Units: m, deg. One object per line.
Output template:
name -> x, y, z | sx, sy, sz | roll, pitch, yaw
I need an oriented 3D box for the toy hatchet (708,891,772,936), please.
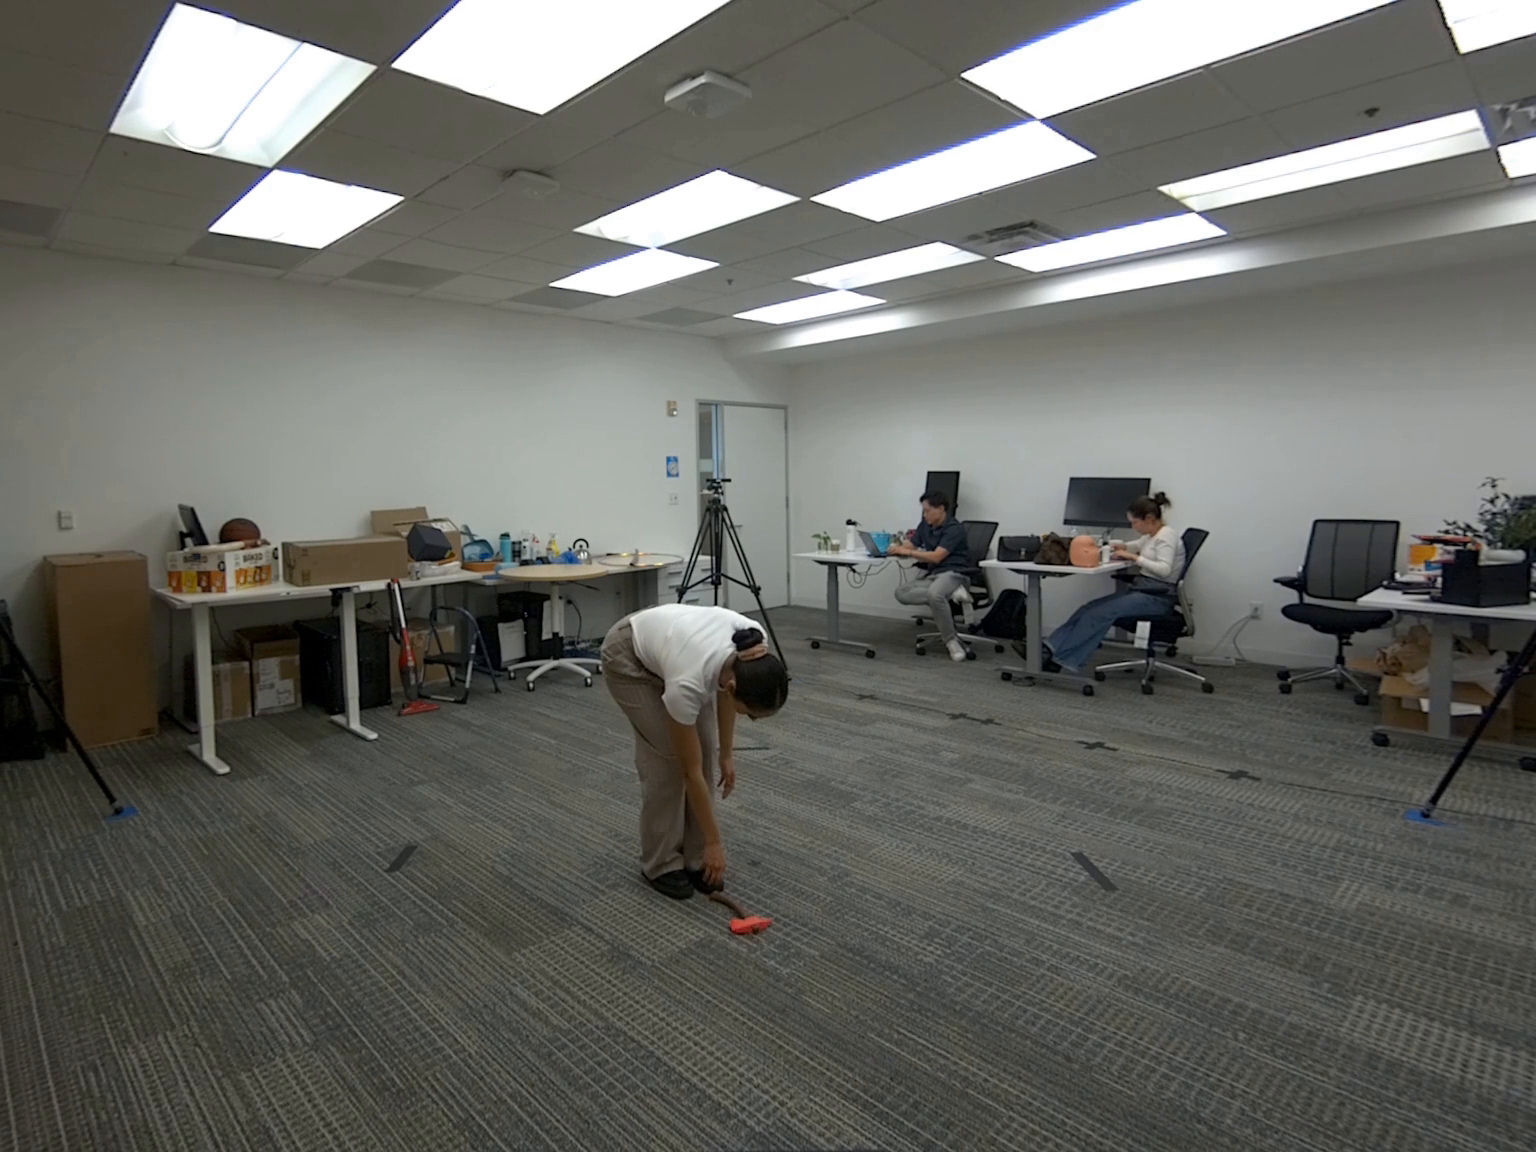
toy hatchet -> -0.118, 1.078, 2.726 | 0.128, 0.029, 0.278 | -9, 9, -42
